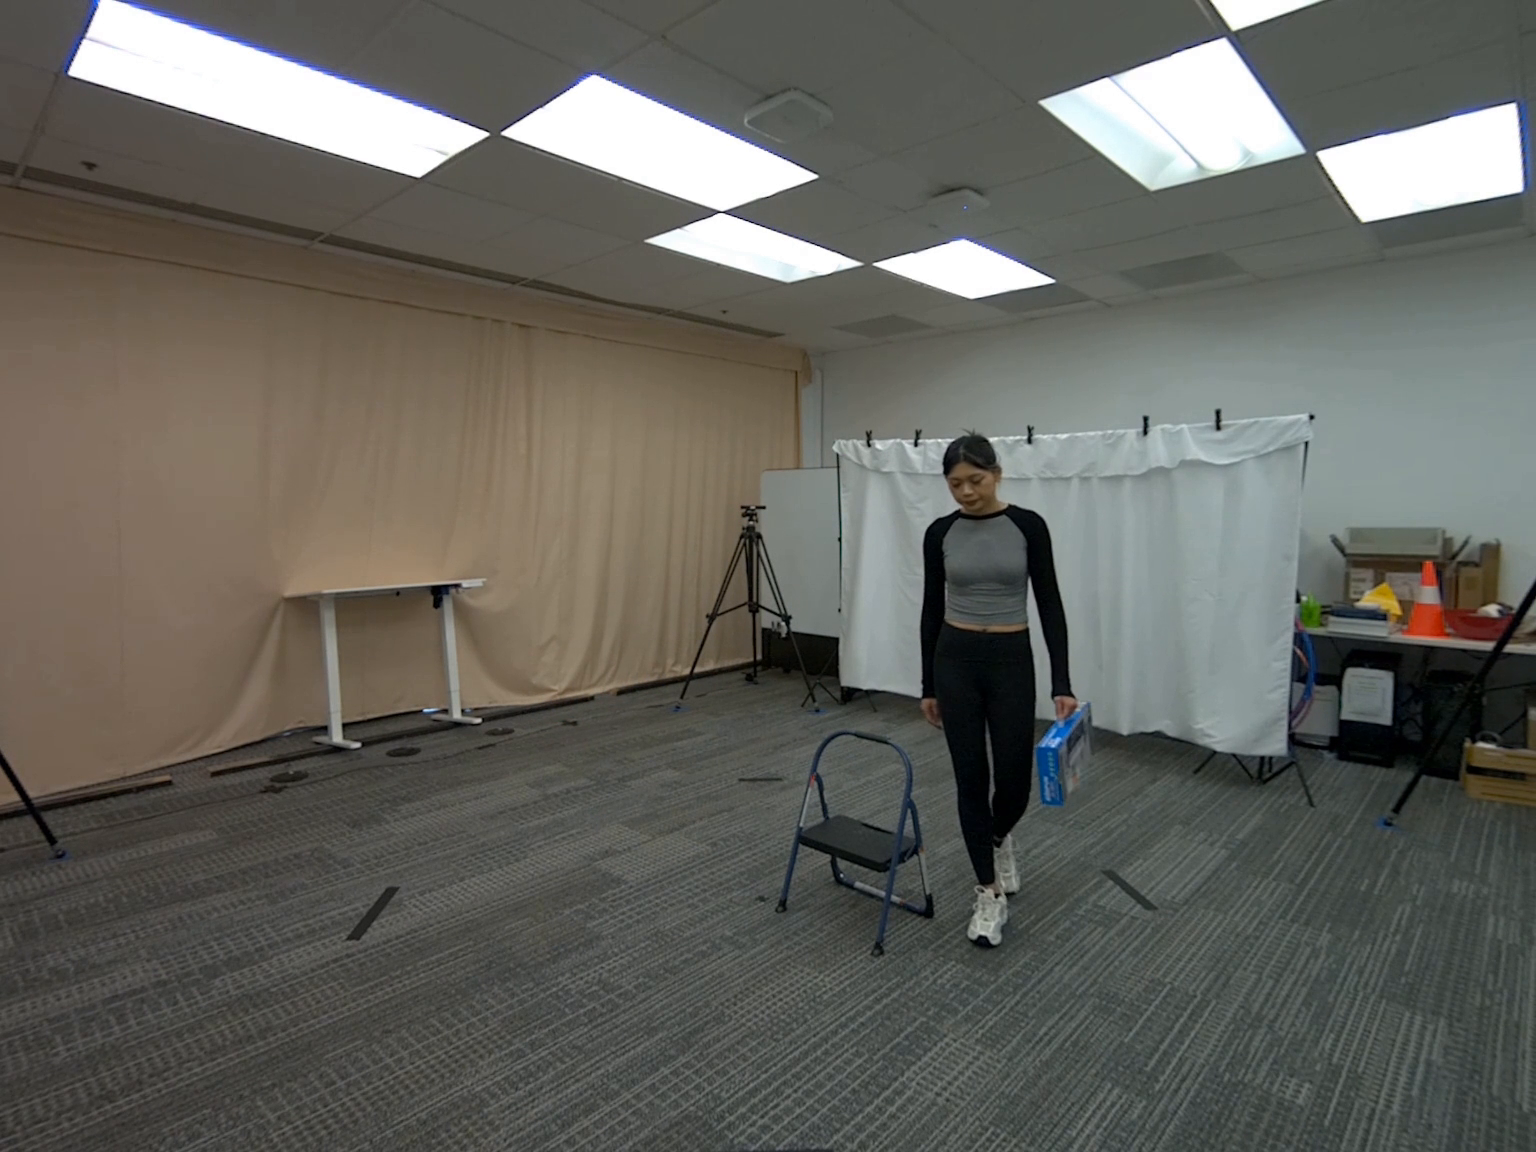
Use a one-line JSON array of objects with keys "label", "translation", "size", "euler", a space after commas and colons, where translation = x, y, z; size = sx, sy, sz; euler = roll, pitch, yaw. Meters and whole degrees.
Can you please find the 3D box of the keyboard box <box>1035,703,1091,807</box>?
[{"label": "keyboard box", "translation": [0.913, 0.531, 2.573], "size": [0.061, 0.175, 0.426], "euler": [-4, 8, 34]}]
